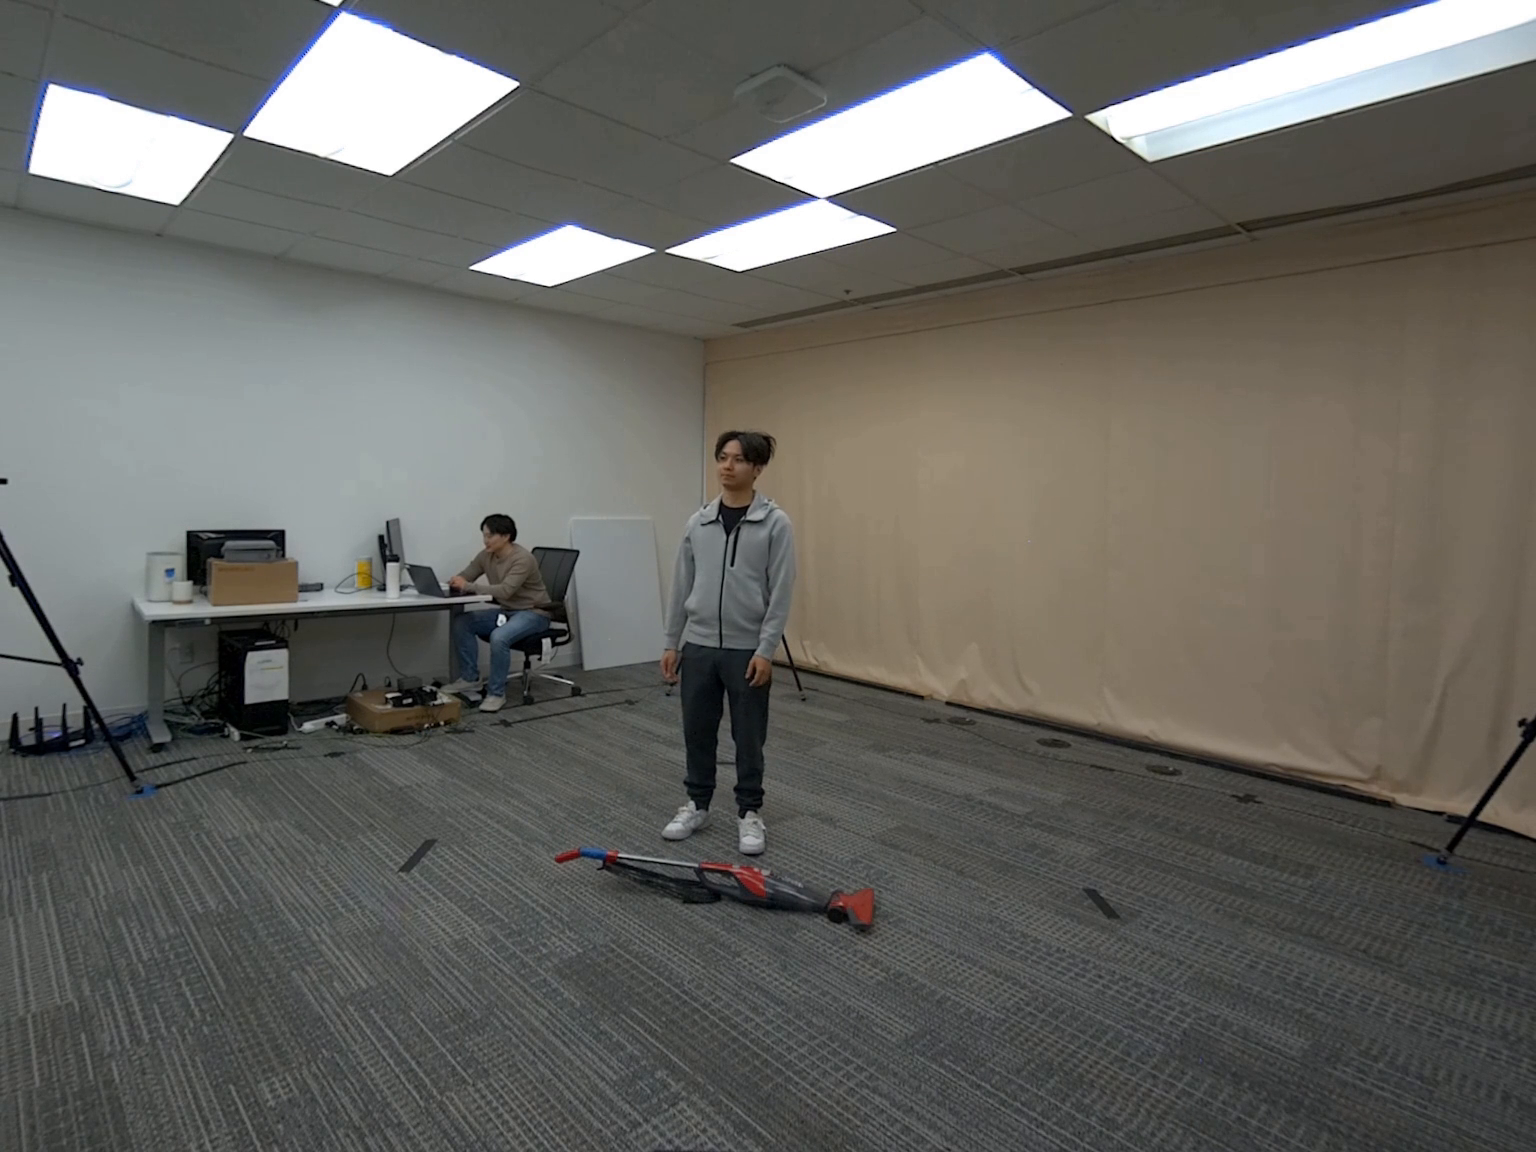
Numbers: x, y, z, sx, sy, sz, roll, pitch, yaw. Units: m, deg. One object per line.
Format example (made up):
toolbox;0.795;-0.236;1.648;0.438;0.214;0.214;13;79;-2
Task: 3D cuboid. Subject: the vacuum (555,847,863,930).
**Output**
vacuum;-0.238;1.057;2.941;1.059;0.143;0.251;5;4;11
